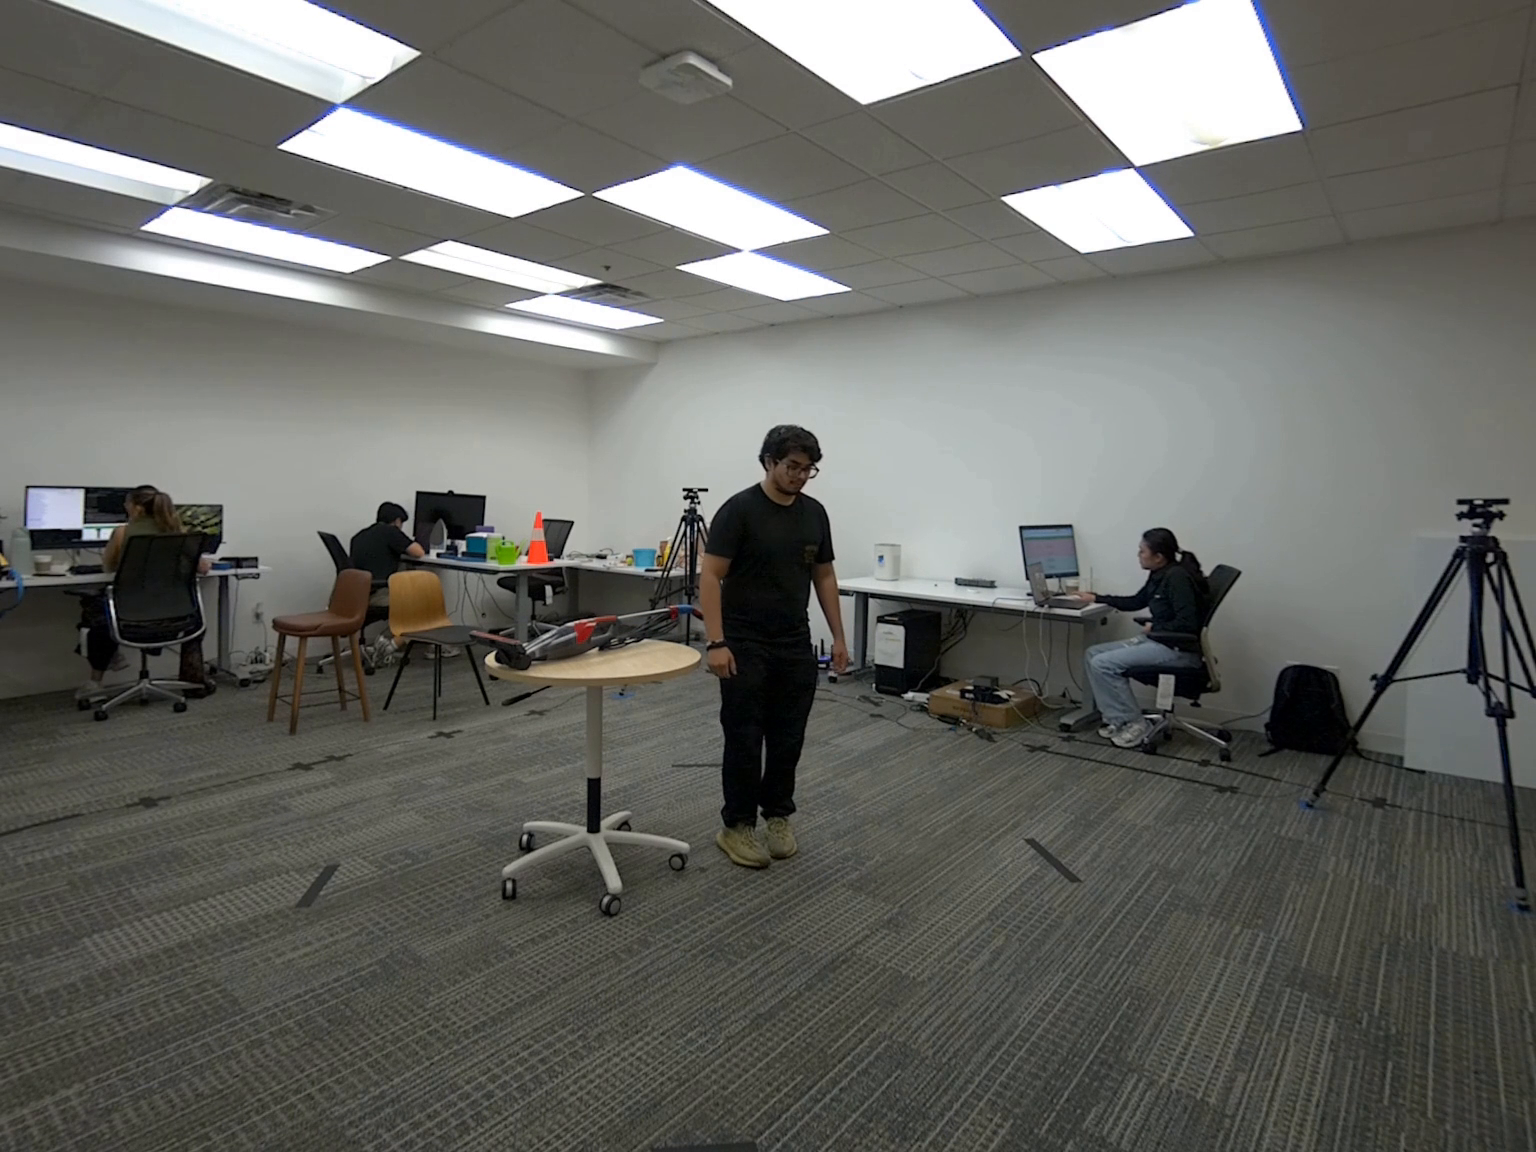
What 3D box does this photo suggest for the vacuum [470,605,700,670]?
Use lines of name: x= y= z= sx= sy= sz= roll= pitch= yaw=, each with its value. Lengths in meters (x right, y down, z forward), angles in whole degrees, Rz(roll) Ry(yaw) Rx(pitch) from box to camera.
vacuum: x=-0.610 y=0.221 z=3.208 sx=0.262 sy=0.143 sz=1.020 roll=14 pitch=13 yaw=36
